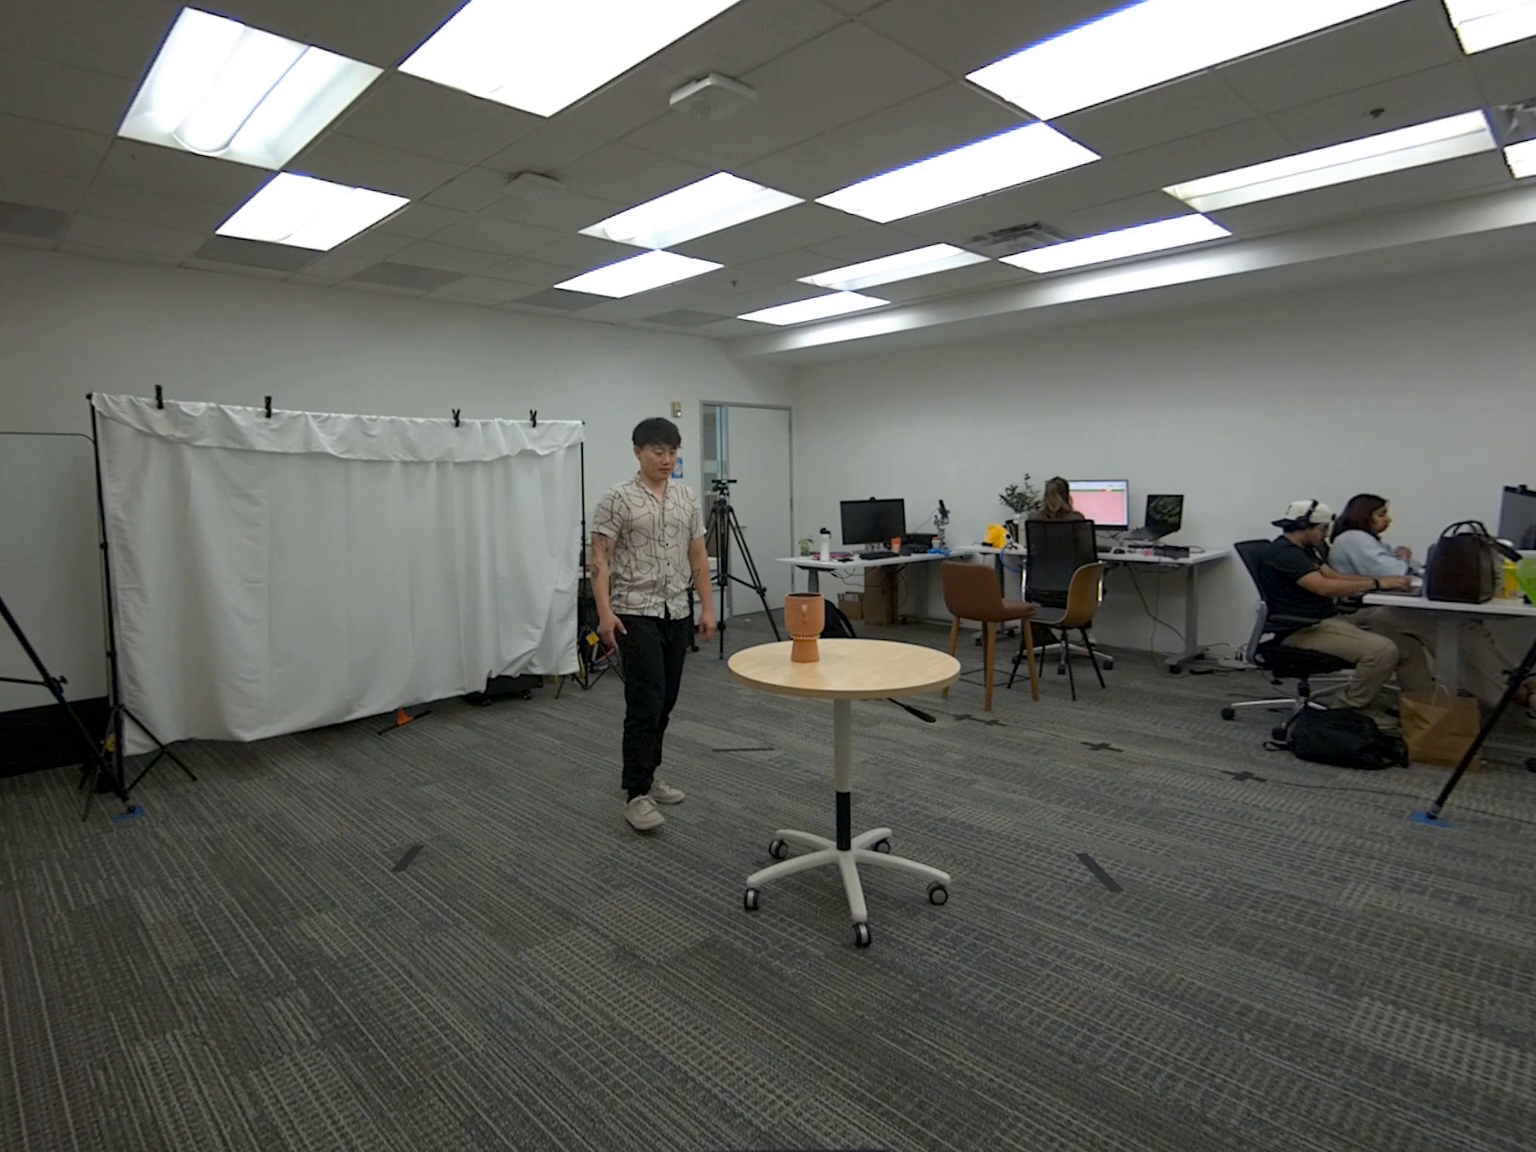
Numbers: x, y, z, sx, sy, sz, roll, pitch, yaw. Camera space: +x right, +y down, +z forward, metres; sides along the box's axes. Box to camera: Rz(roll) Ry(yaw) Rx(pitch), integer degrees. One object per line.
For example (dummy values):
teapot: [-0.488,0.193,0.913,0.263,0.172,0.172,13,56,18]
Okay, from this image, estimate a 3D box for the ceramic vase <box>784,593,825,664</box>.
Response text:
ceramic vase: [0.127,0.176,2.887,0.139,0.219,0.154,4,7,45]
